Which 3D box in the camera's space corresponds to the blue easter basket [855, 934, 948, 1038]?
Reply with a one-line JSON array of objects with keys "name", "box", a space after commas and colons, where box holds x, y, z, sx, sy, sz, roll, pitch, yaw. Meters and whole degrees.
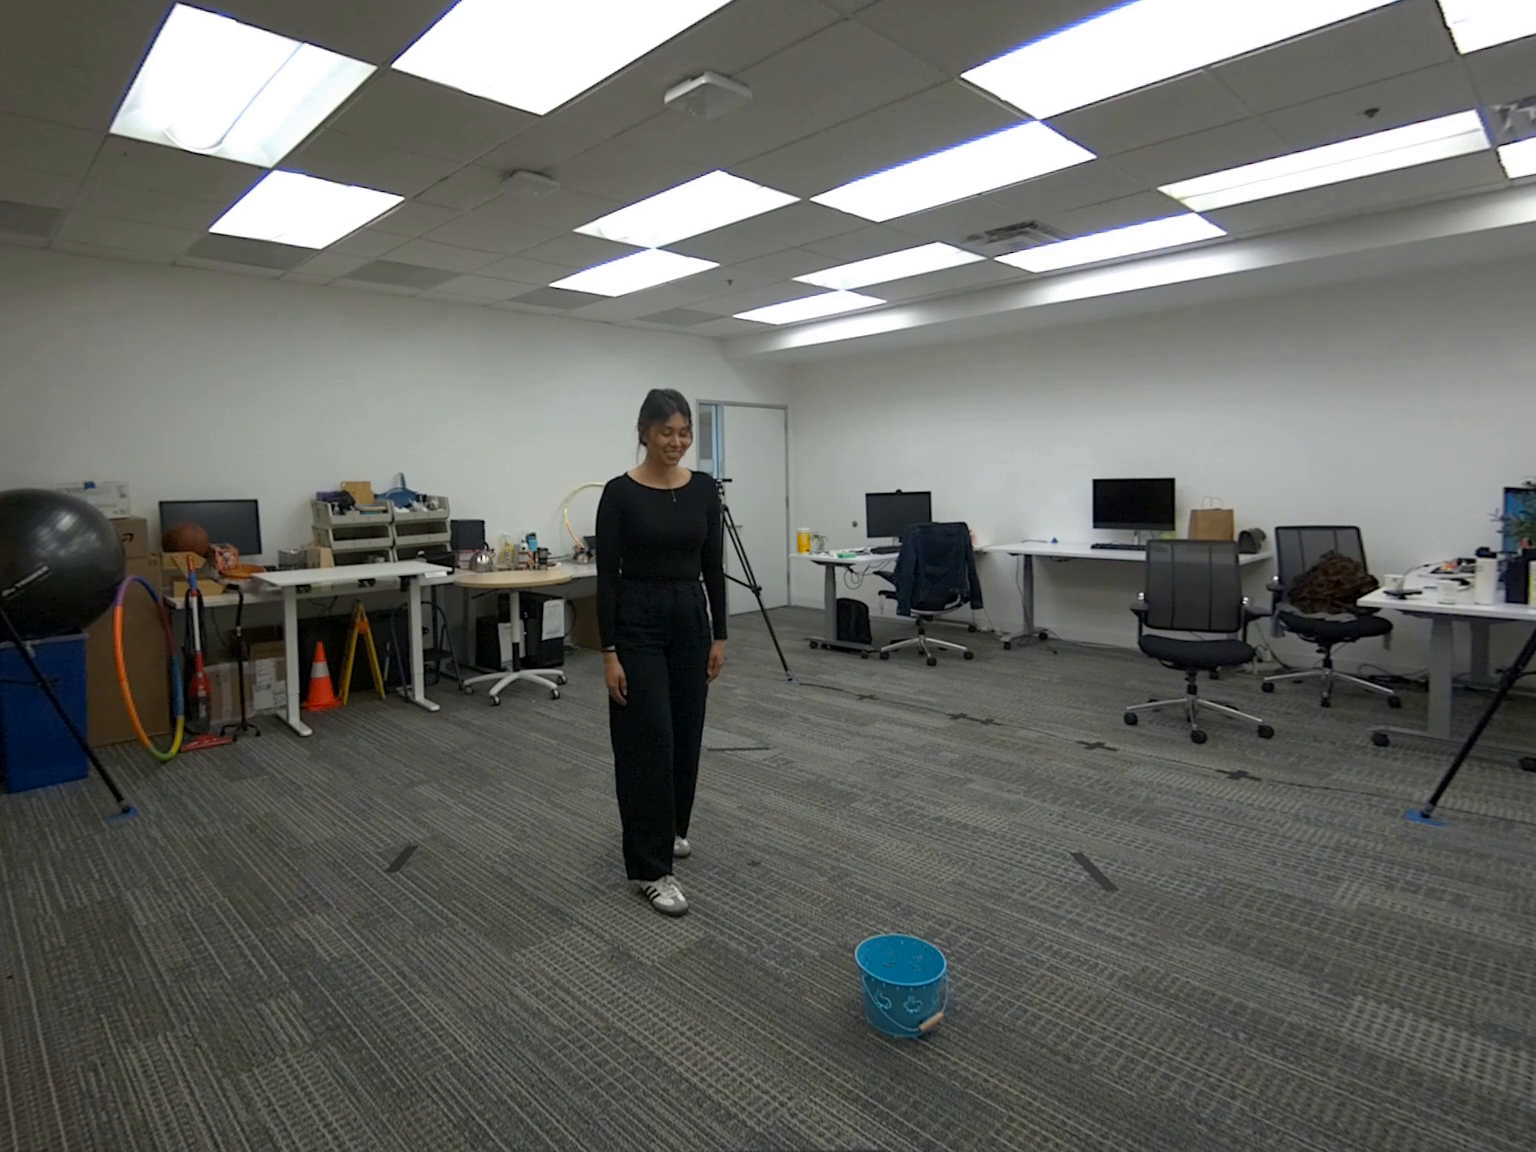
[{"name": "blue easter basket", "box": [0.348, 1.065, 2.208, 0.243, 0.155, 0.245, -2, 5, -2]}]
